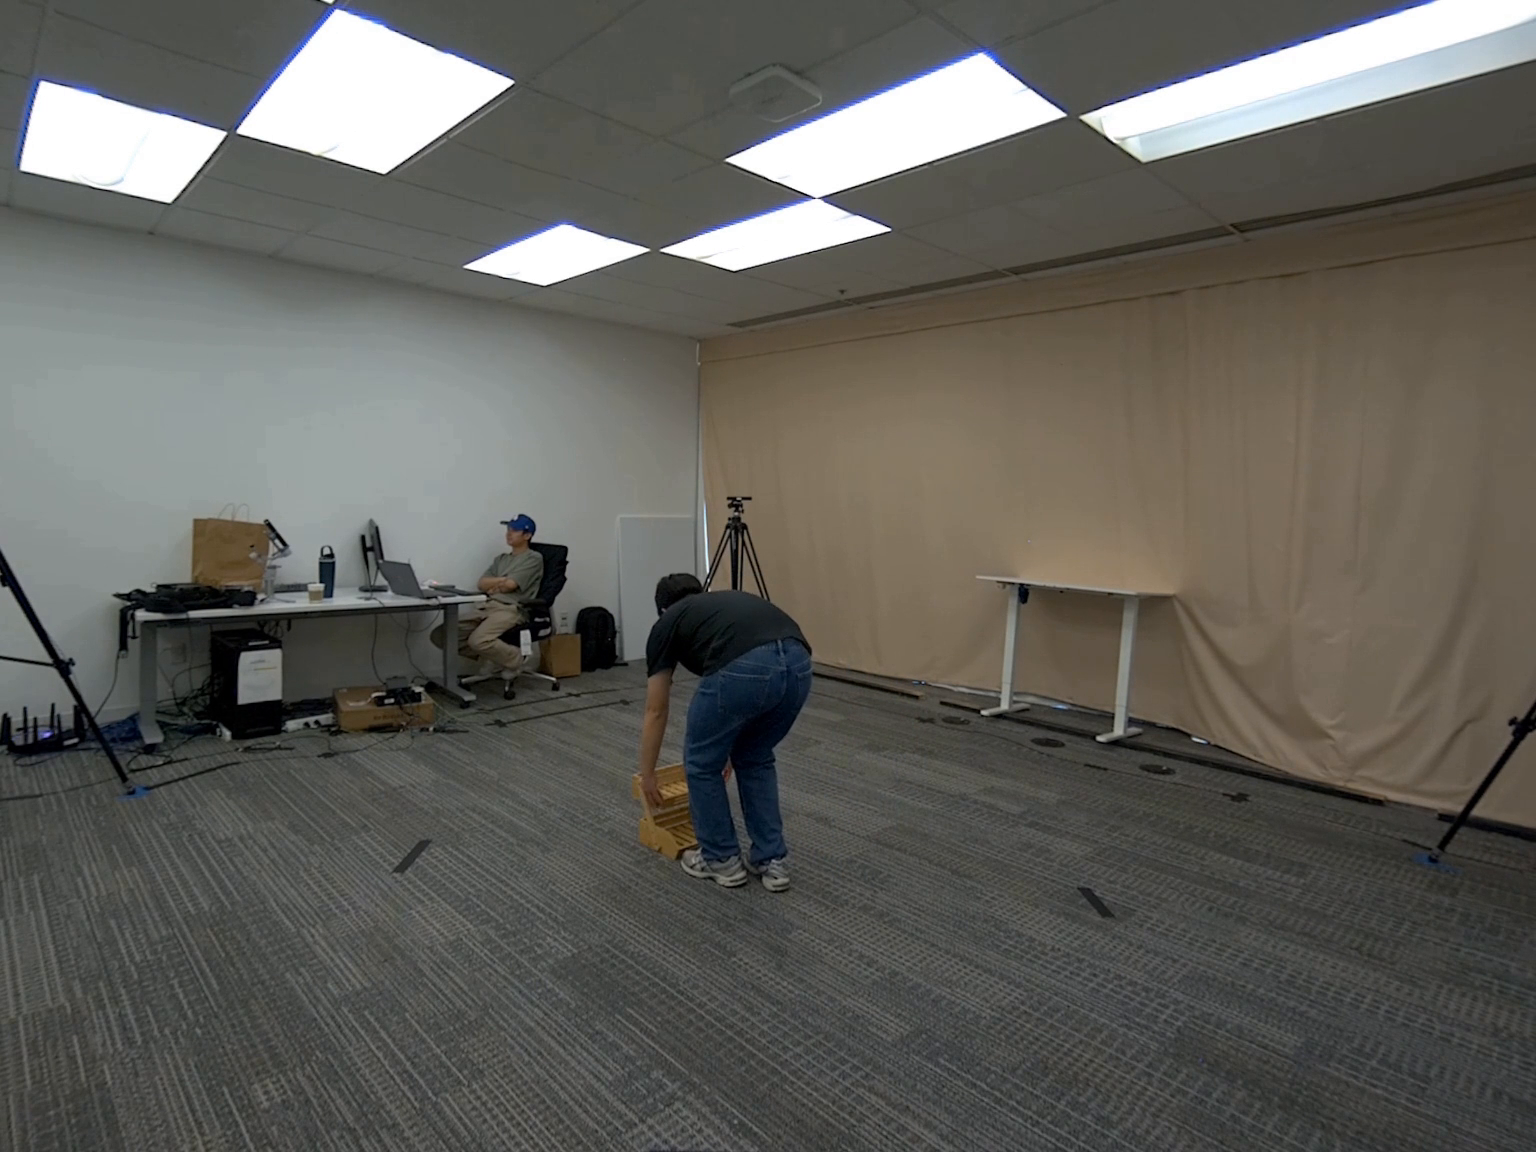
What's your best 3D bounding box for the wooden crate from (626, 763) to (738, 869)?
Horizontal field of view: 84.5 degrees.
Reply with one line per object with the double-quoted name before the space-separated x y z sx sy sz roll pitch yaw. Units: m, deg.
"wooden crate" -0.352 0.951 3.421 0.317 0.273 0.310 -2 5 -44
